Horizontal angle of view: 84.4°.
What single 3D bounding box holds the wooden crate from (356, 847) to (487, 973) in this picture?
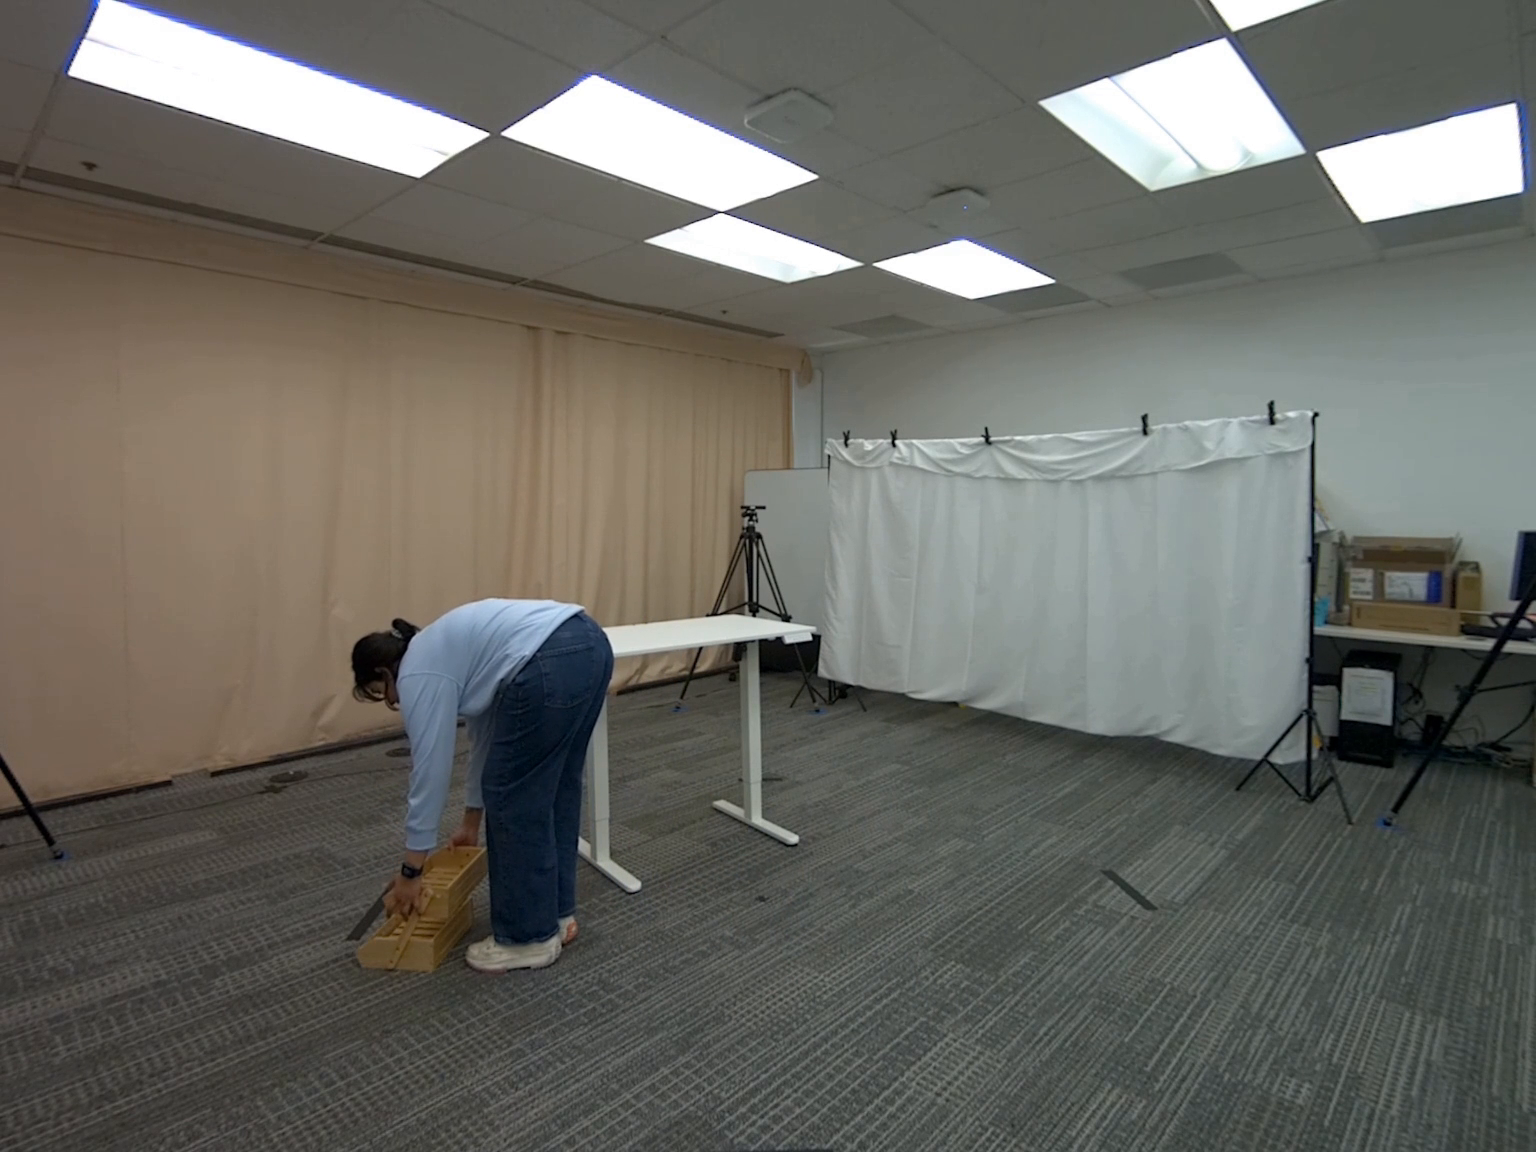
[{"bbox_3d":[-1.099,1.046,2.681,0.303,0.273,0.323,1,2,3],"label":"wooden crate"}]
